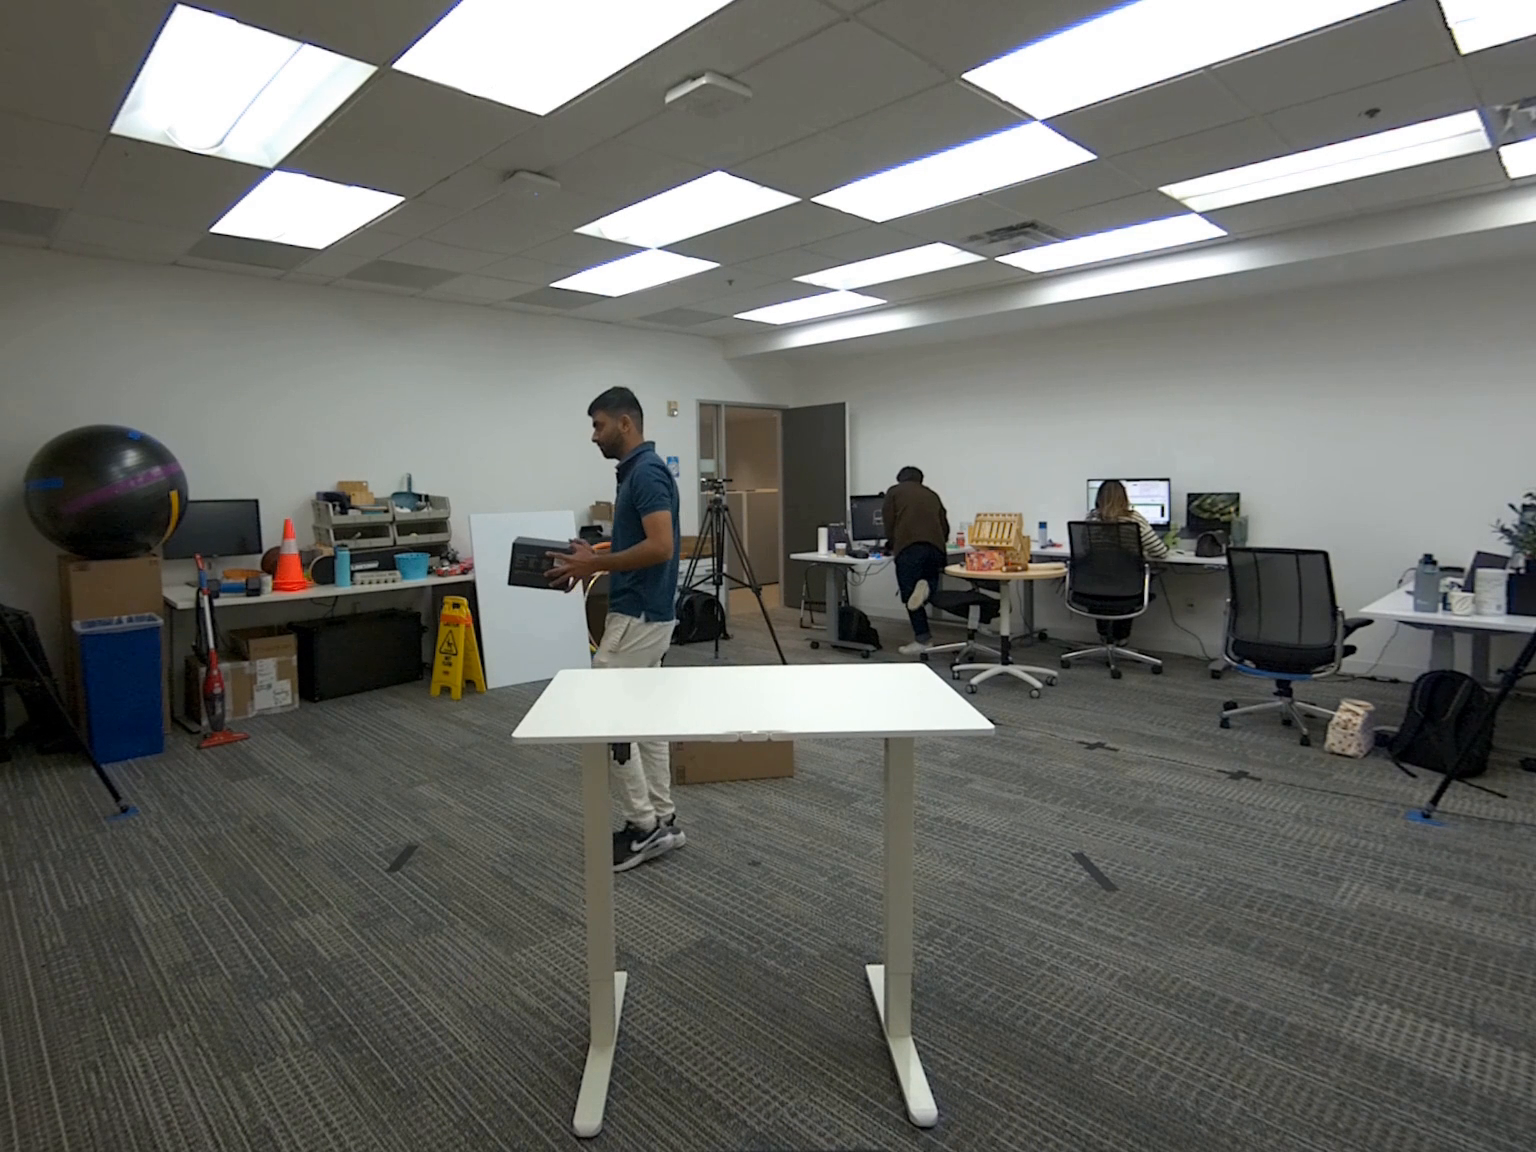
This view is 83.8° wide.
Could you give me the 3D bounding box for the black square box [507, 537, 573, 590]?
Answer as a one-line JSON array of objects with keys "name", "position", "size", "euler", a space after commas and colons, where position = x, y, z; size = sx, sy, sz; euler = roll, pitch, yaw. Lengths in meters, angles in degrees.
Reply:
[{"name": "black square box", "position": [-0.832, -0.046, 3.137], "size": [0.215, 0.155, 0.231], "euler": [5, 7, -8]}]
